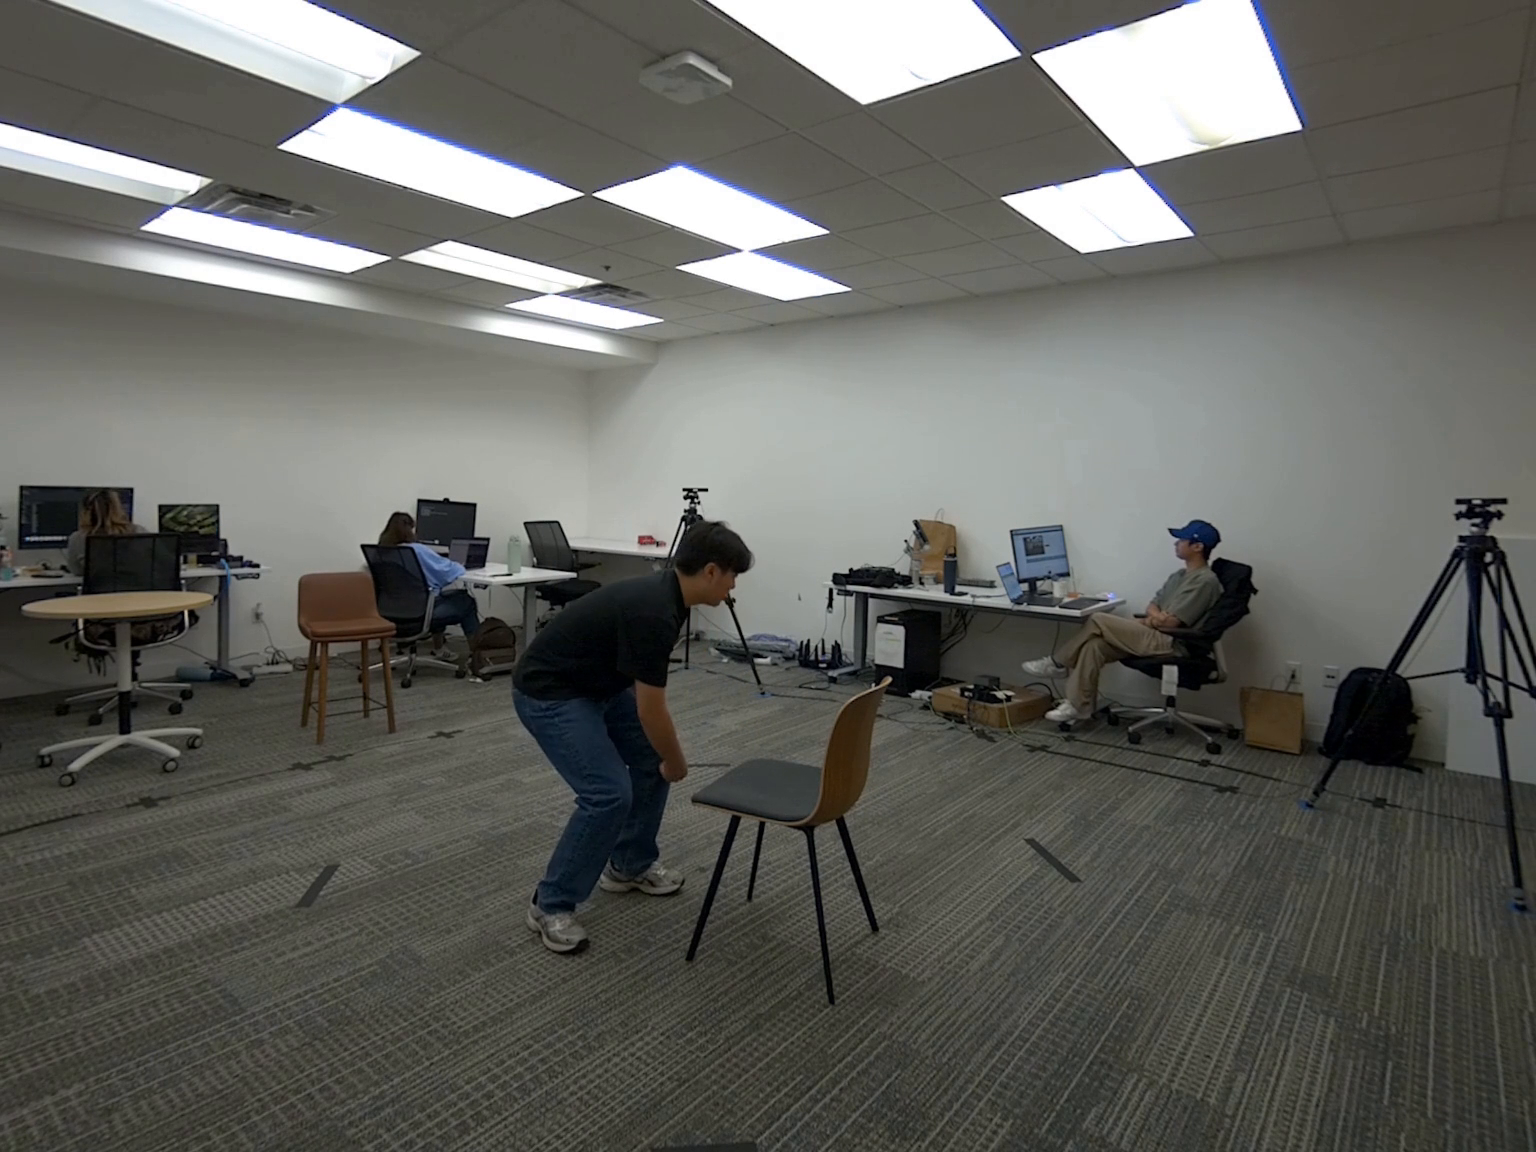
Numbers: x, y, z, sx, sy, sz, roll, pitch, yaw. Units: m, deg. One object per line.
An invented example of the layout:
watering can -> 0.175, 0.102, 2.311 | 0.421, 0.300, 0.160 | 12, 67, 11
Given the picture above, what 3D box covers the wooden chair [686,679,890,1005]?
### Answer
wooden chair -> 0.053, 0.701, 2.574 | 0.538, 0.874, 0.467 | 8, 6, 25
